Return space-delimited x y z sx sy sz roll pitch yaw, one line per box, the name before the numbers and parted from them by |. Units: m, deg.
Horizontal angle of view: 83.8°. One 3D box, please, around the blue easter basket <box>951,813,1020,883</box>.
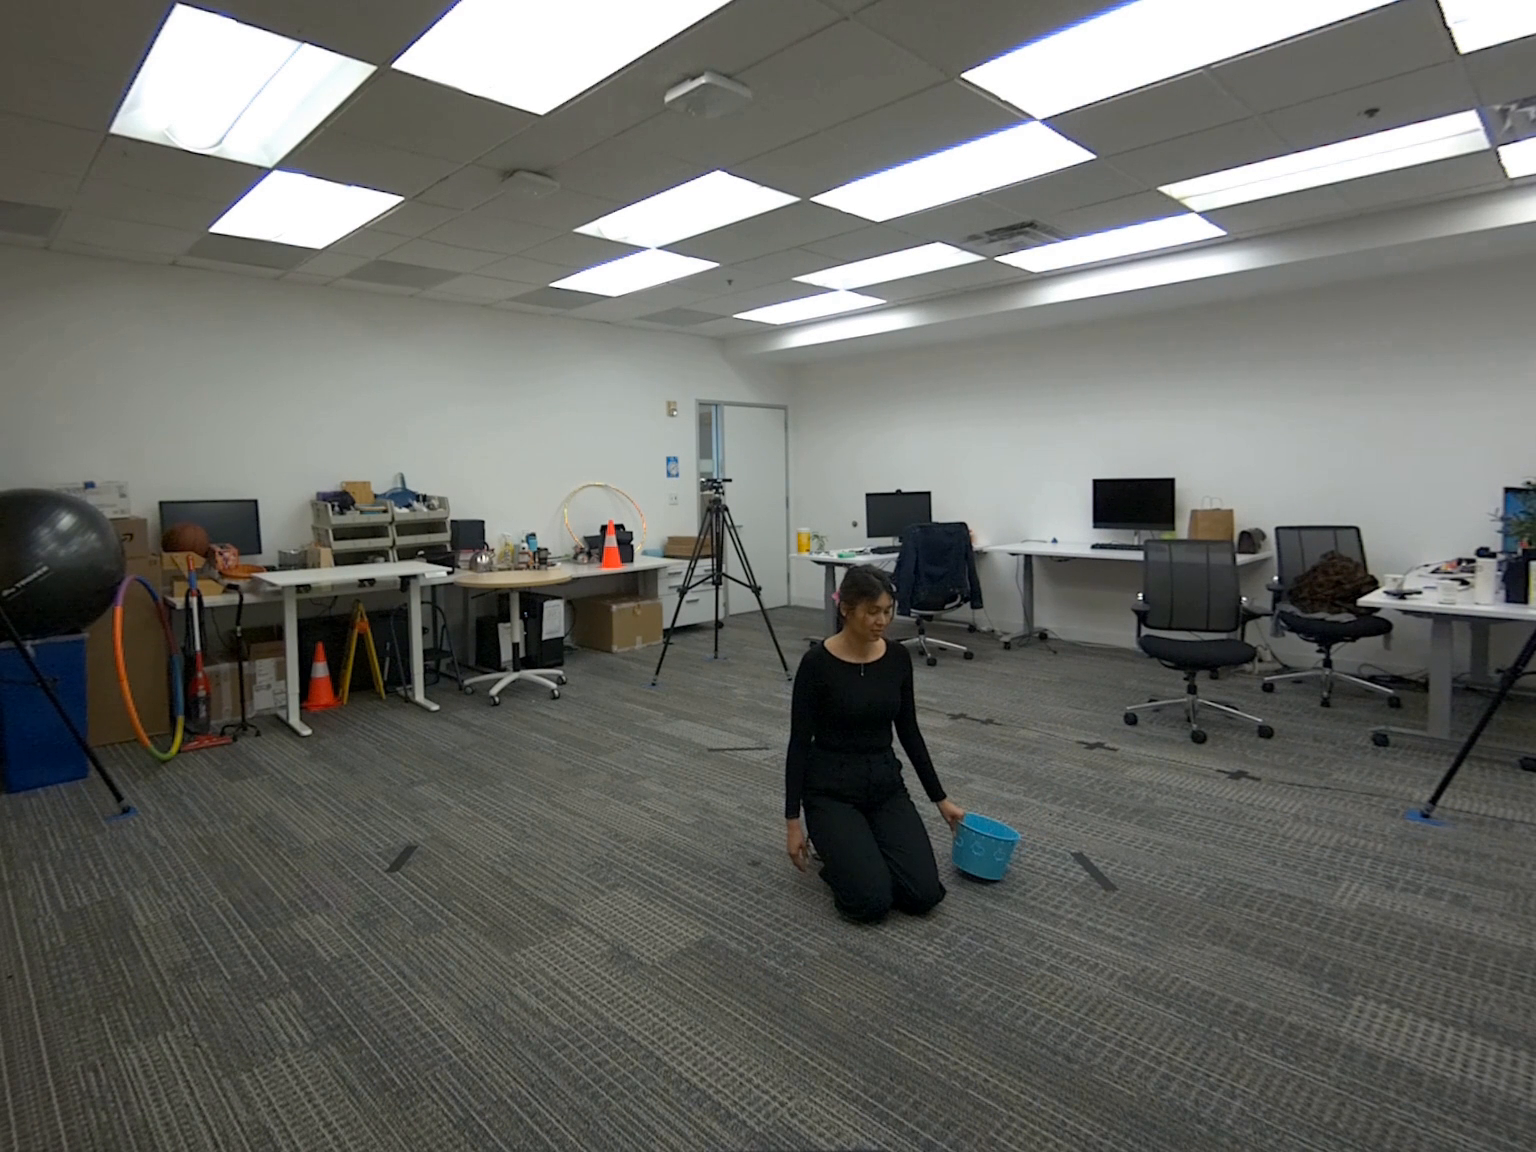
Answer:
blue easter basket | 0.756 0.934 2.983 0.243 0.155 0.244 12 3 -2
